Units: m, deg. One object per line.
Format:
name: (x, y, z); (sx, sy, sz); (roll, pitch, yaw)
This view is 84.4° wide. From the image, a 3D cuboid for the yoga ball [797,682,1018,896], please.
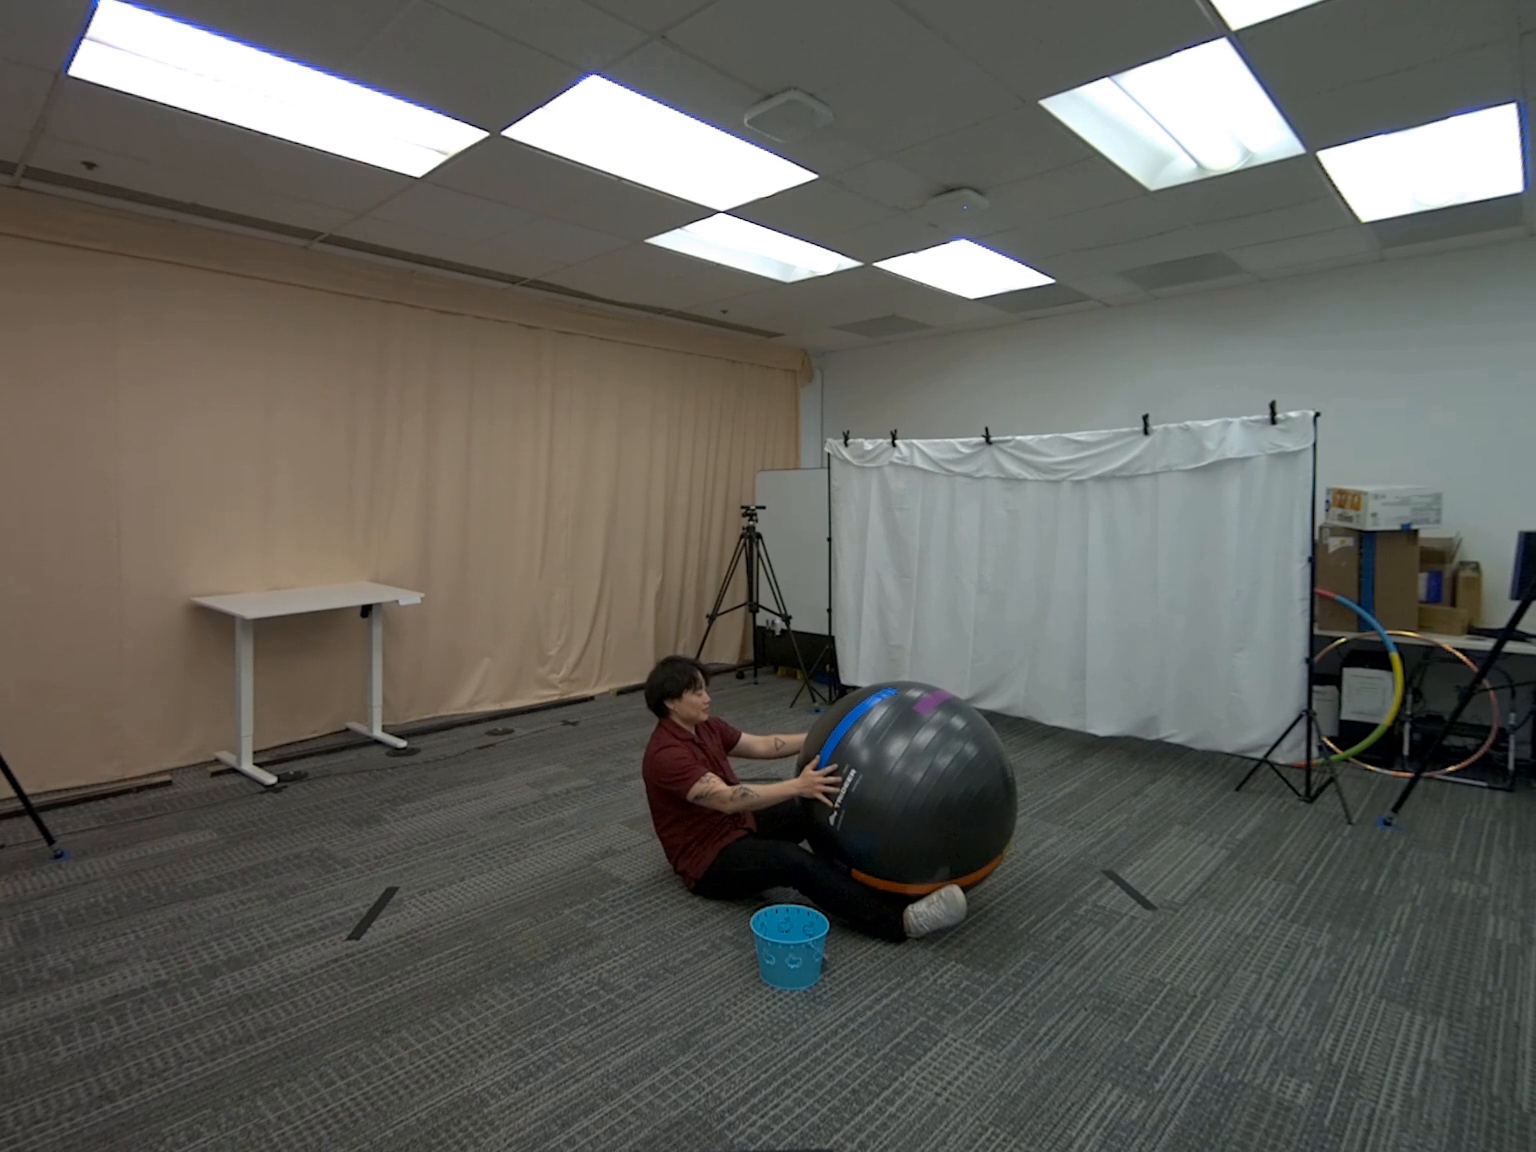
yoga ball: (0.477, 0.752, 2.967); (0.757, 0.756, 0.760); (0, 4, -2)
